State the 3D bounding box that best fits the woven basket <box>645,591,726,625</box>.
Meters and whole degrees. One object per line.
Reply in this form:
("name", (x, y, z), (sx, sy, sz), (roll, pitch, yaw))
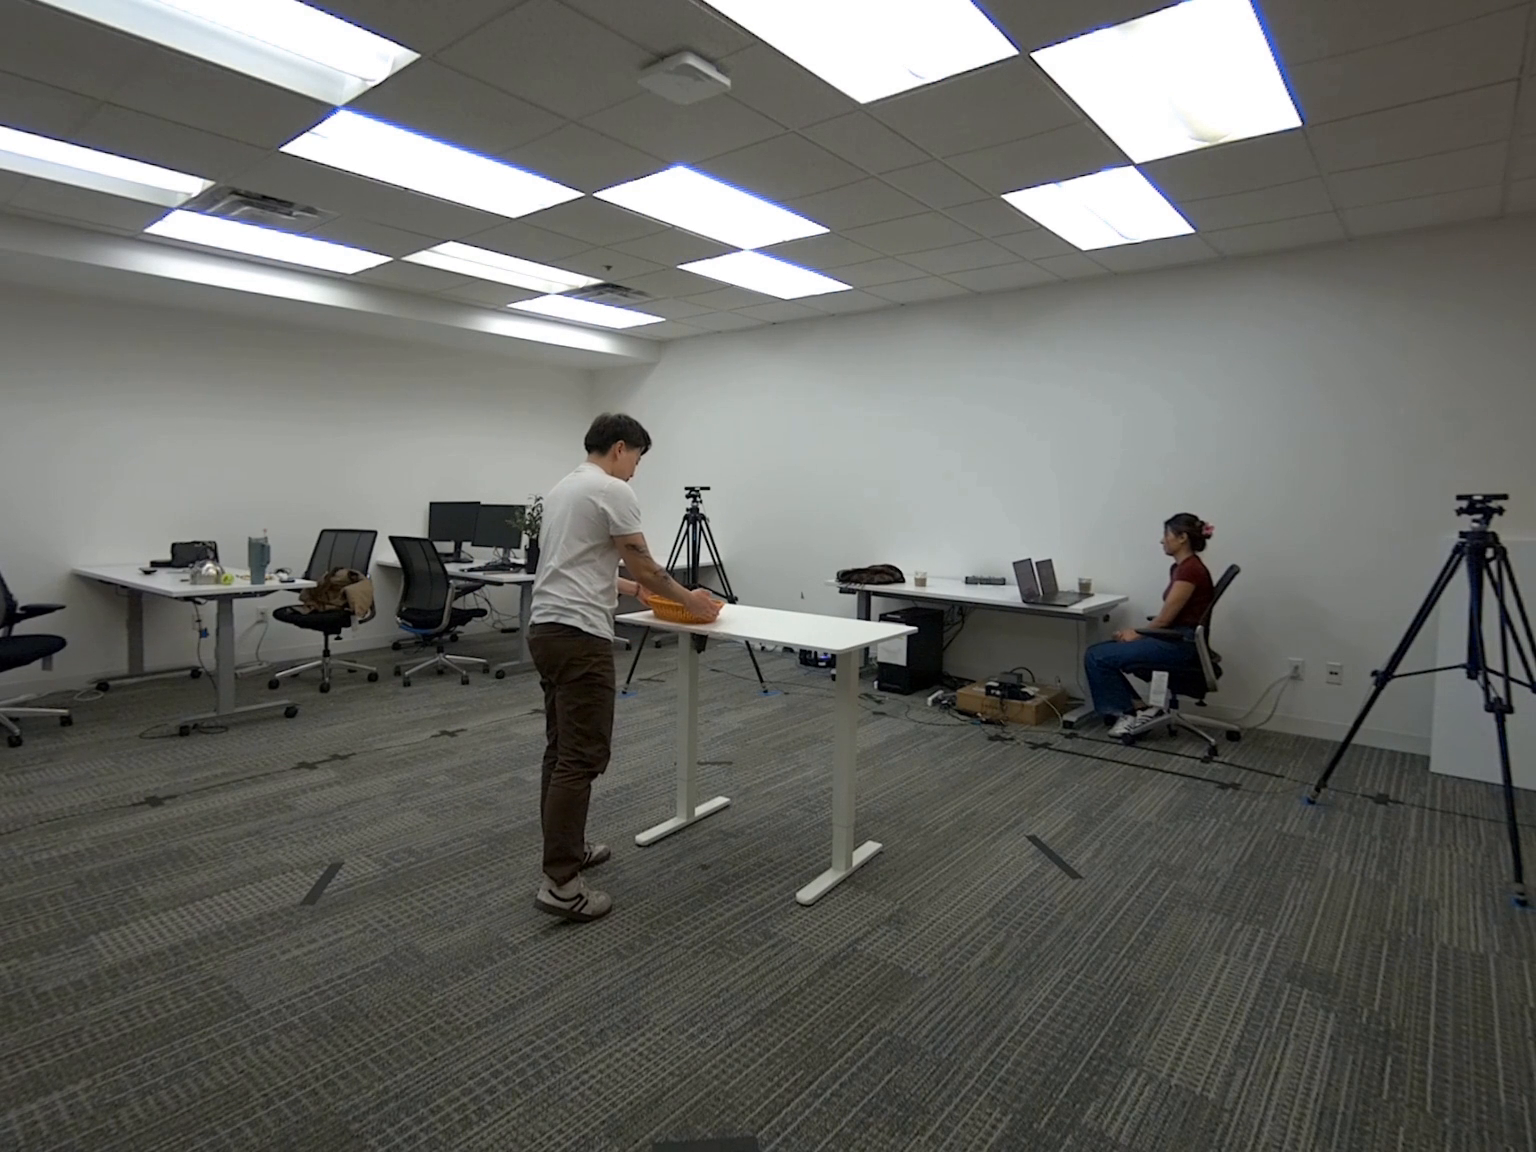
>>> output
("woven basket", (-0.336, 0.127, 3.313), (0.245, 0.073, 0.362), (-4, 8, -44))
